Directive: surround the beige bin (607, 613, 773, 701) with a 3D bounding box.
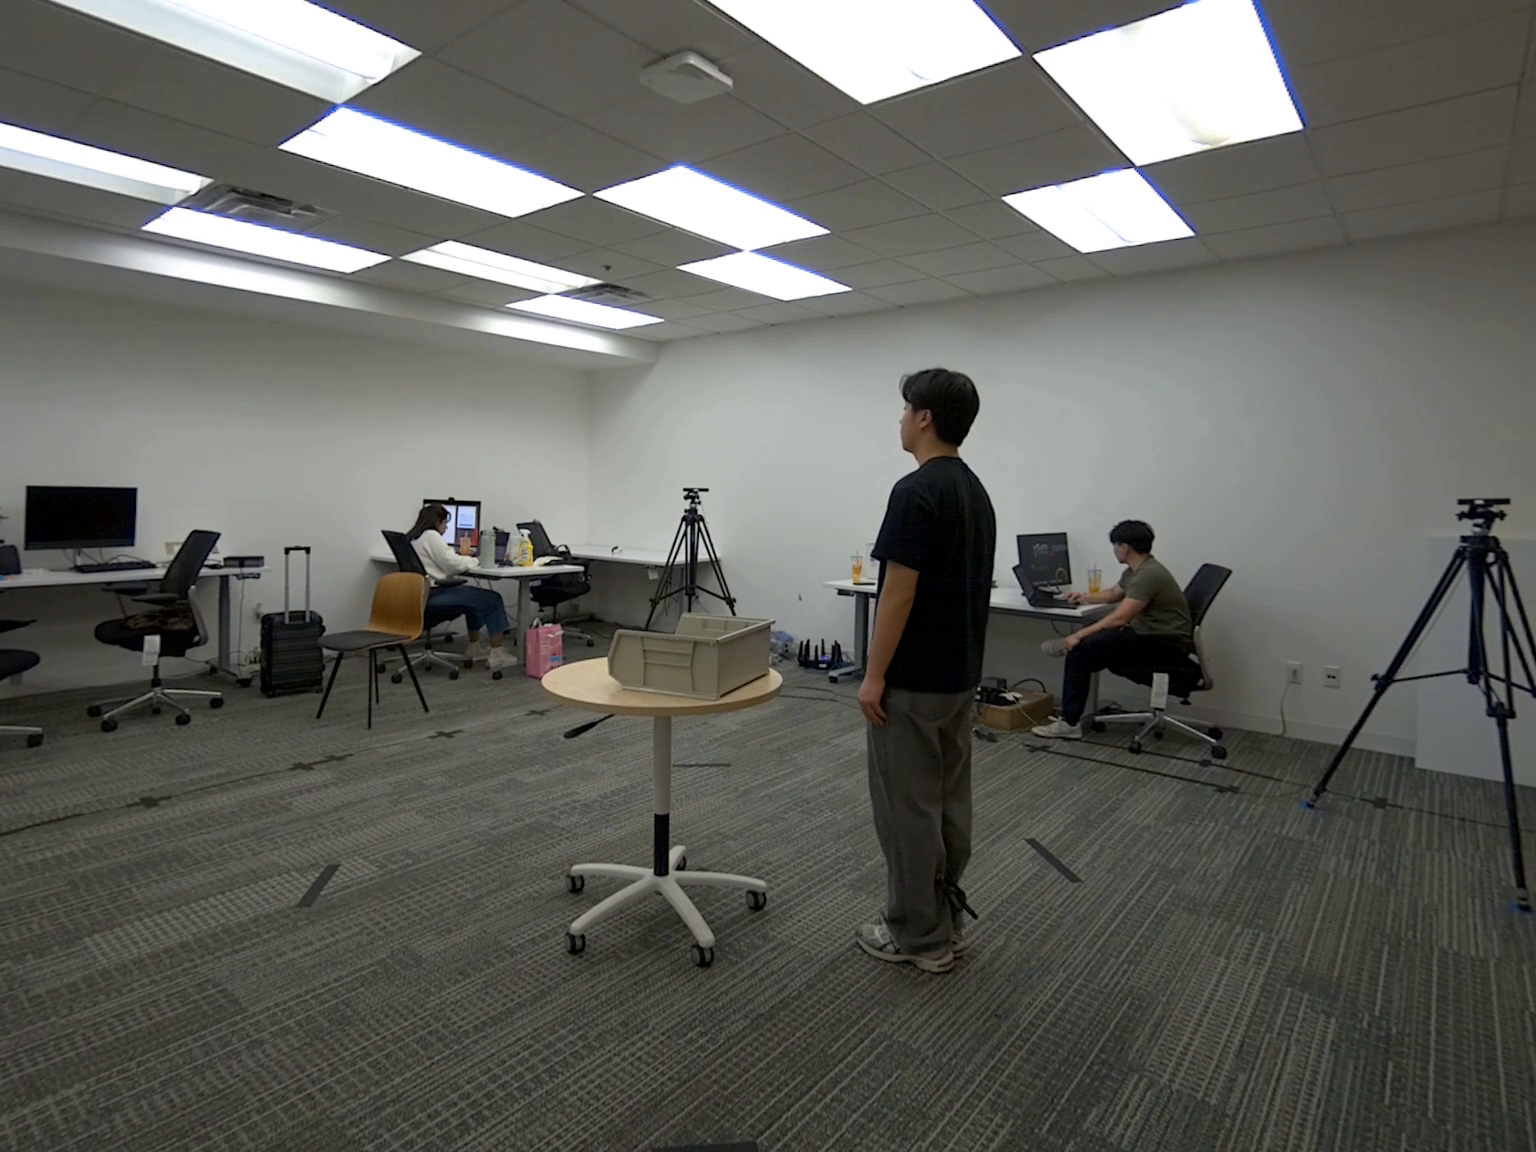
[{"bbox_3d":[-0.241,0.238,2.667,0.387,0.188,0.413,4,5,24],"label":"beige bin"}]
